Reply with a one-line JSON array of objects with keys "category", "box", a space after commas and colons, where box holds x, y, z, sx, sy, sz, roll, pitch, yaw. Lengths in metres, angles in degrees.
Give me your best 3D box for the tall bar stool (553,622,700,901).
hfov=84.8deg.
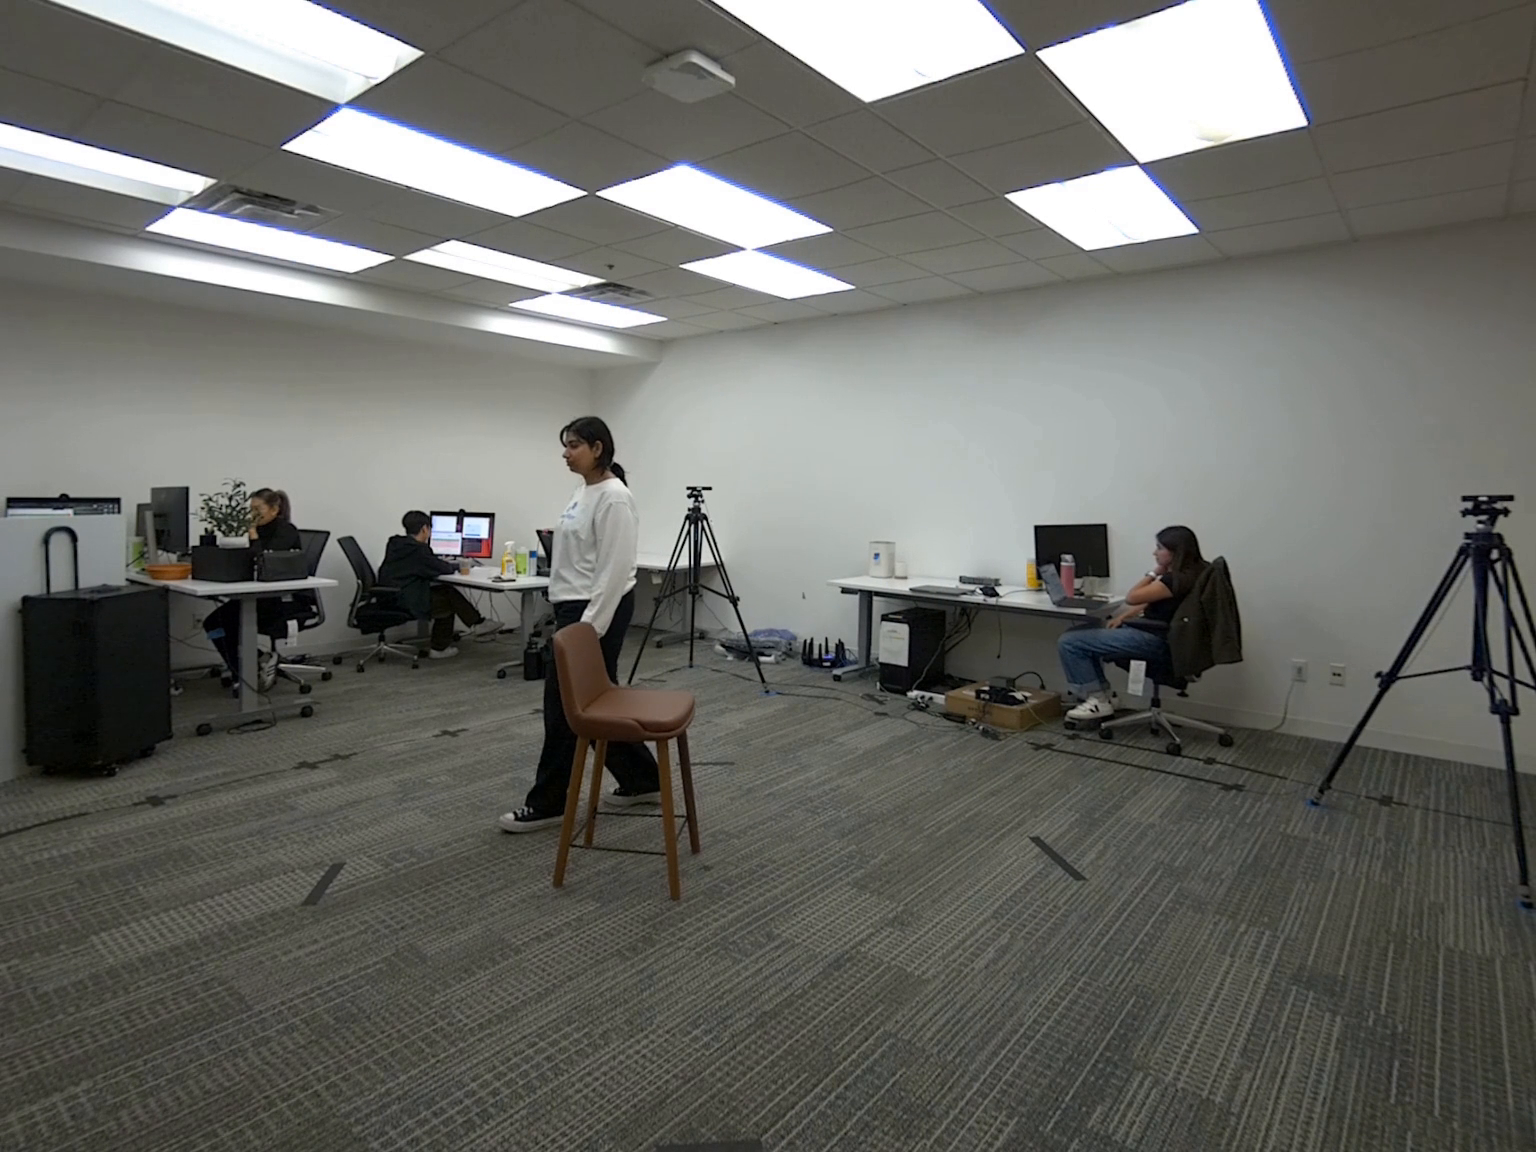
[{"category": "tall bar stool", "box": [-0.506, 0.631, 3.069, 0.472, 0.888, 0.453, -1, 2, 8]}]
